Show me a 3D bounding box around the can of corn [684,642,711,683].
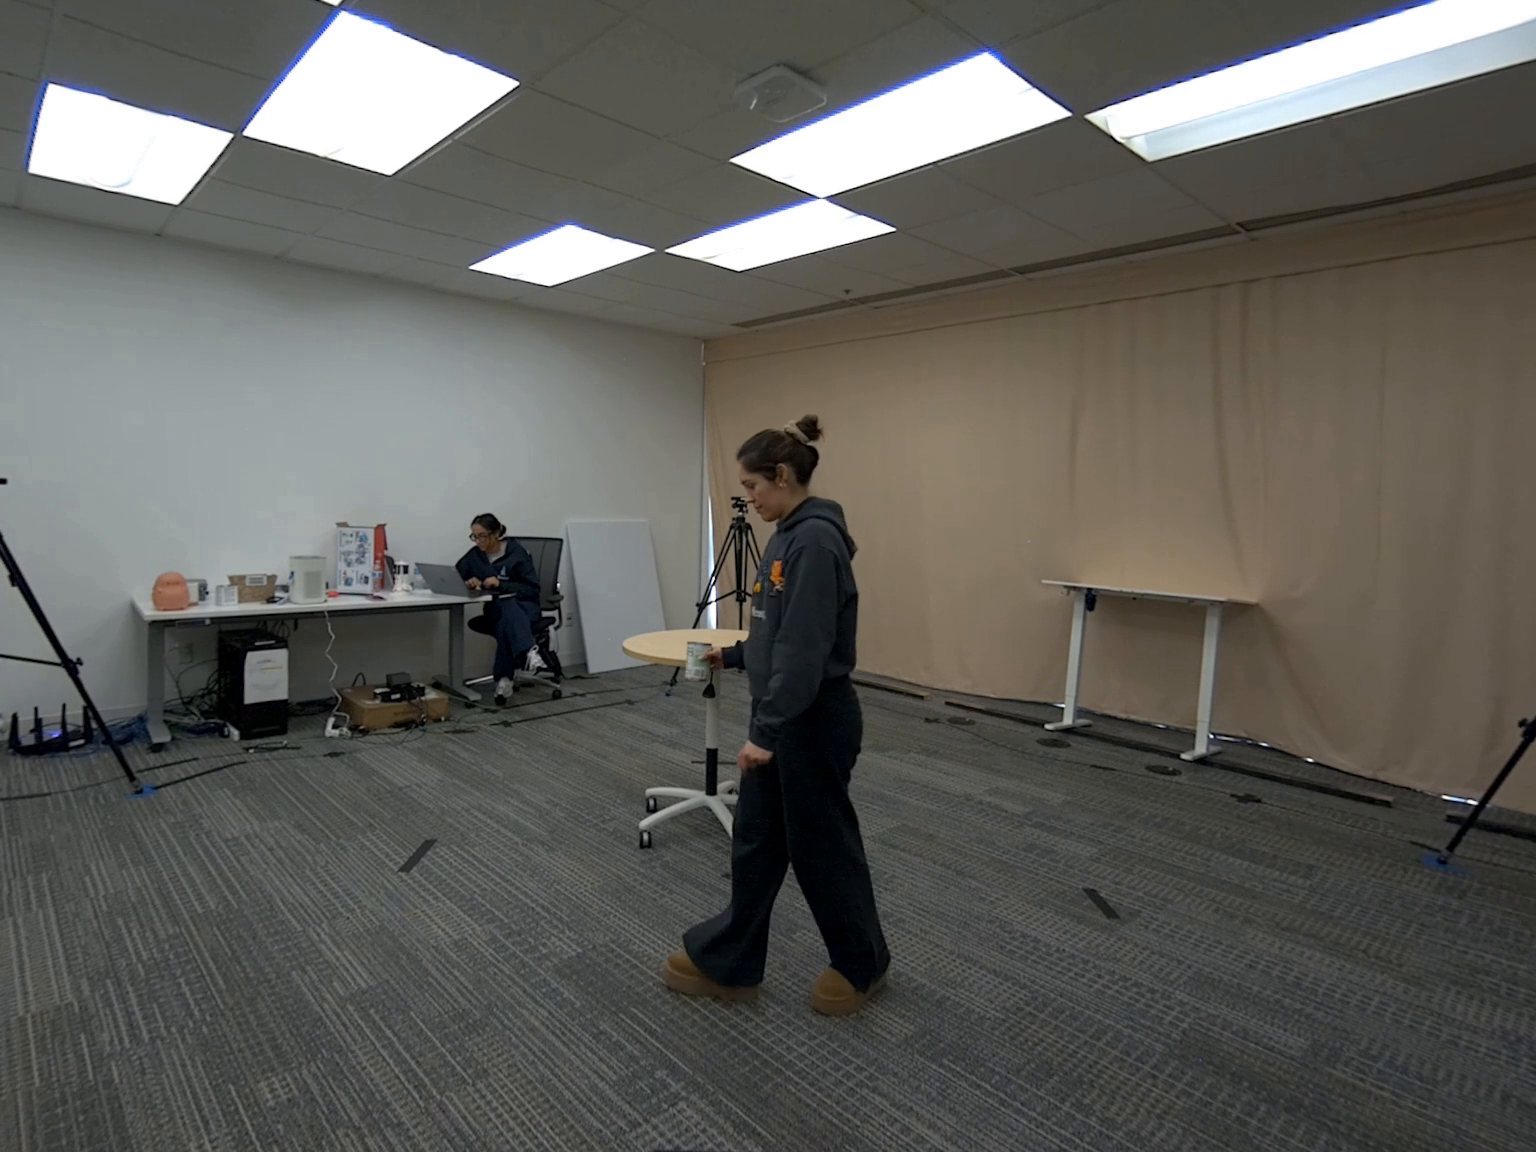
[{"bbox_3d":[-0.206,0.262,2.559,0.074,0.111,0.074,3,-4,-1],"label":"can of corn"}]
